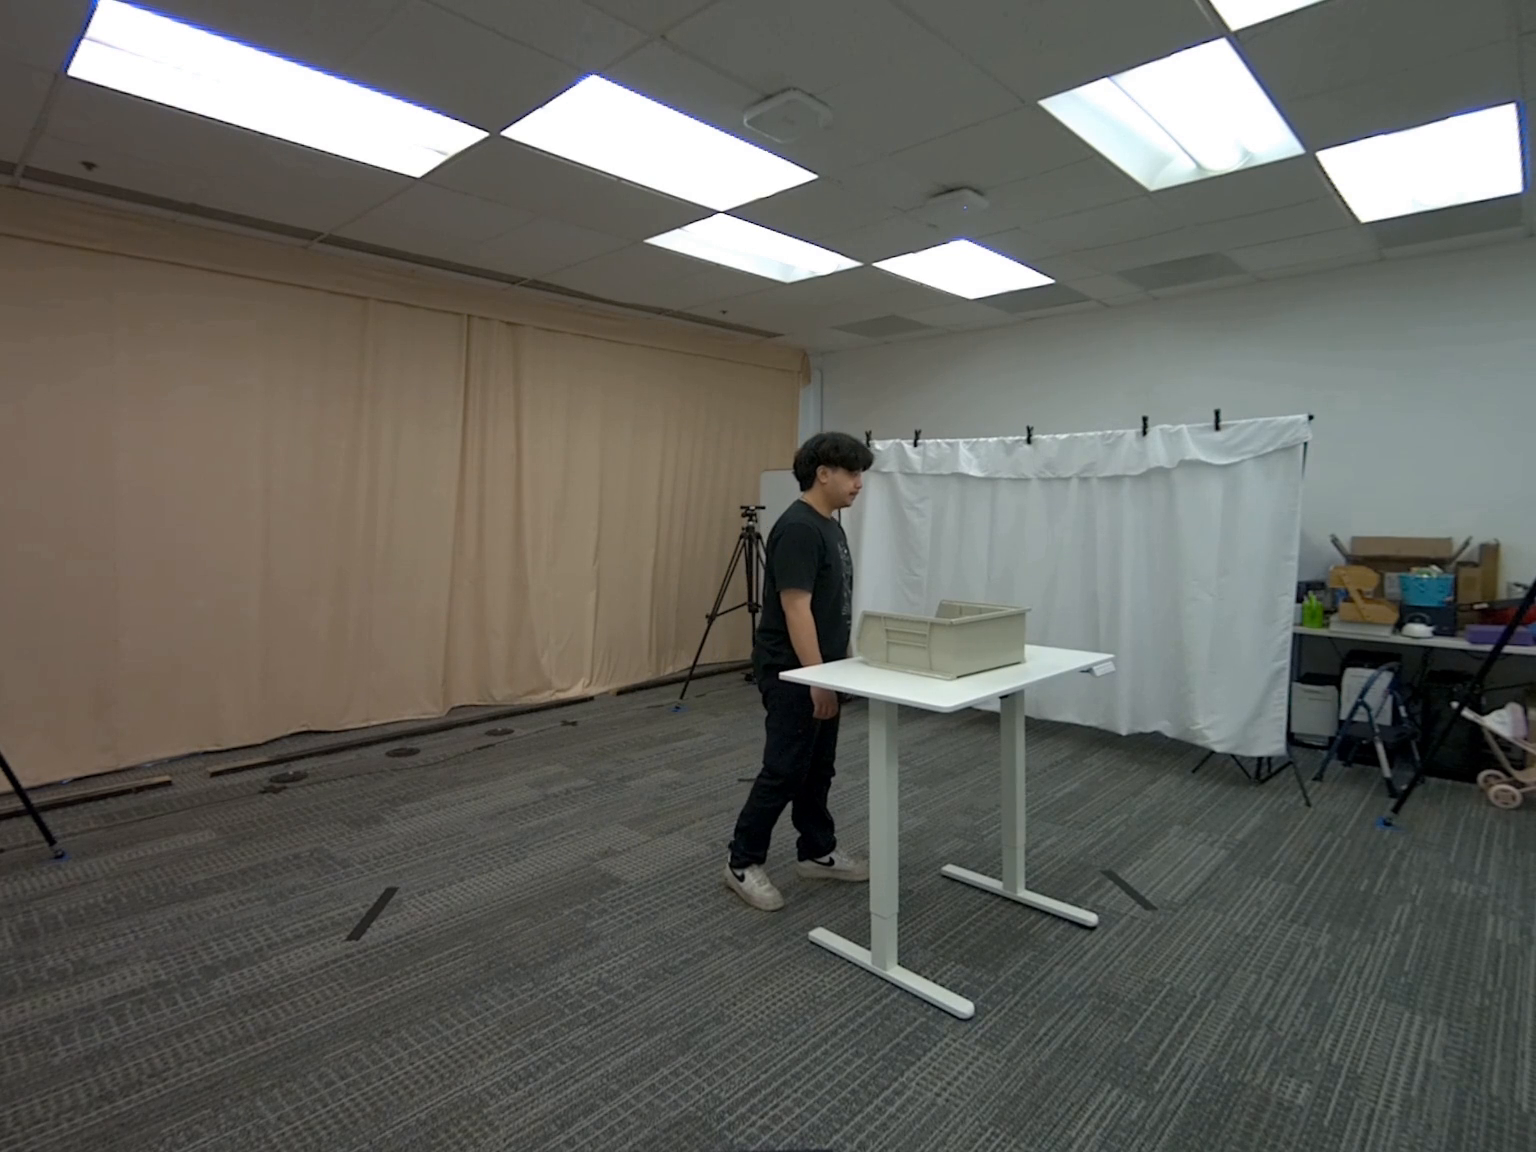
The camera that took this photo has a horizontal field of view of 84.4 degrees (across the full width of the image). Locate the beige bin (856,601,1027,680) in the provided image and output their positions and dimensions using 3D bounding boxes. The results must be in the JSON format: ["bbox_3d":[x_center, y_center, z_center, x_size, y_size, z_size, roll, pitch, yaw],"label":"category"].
[{"bbox_3d":[0.565,0.198,2.702,0.410,0.188,0.390,-4,6,-40],"label":"beige bin"}]
